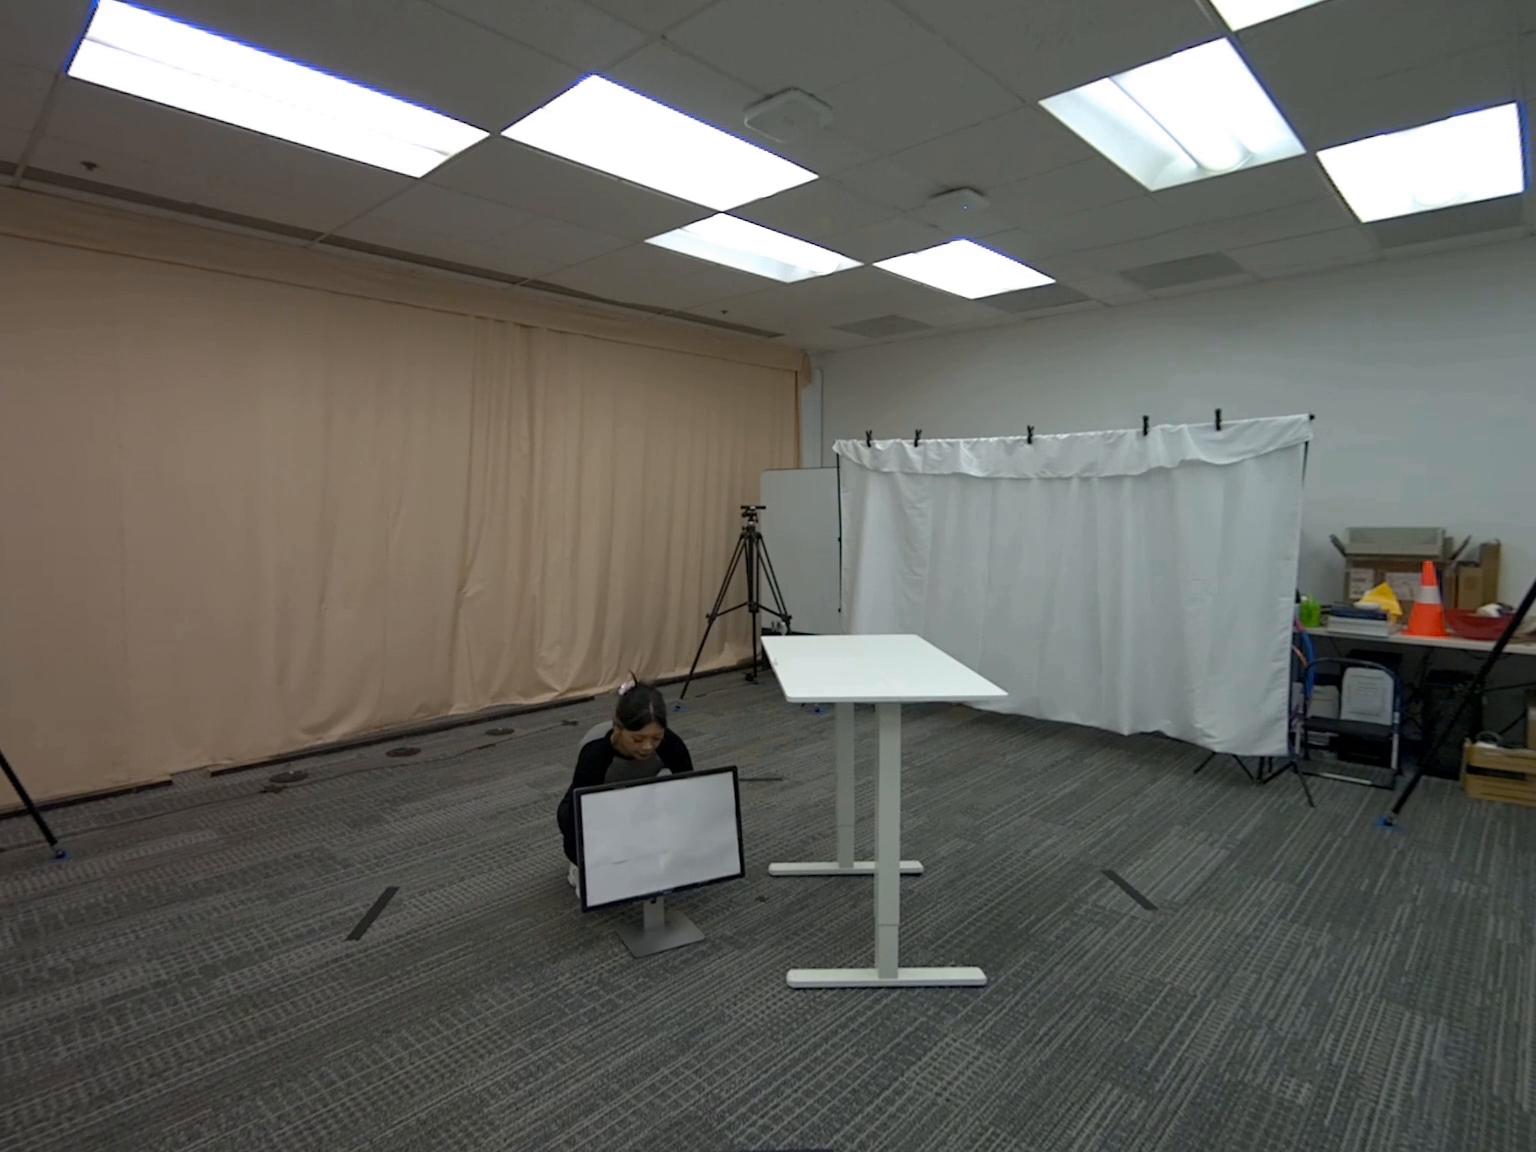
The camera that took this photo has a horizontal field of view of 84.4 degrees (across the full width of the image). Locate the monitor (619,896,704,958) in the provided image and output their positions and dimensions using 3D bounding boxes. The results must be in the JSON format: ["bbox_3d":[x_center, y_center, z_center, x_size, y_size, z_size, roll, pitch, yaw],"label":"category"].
[{"bbox_3d":[-0.357,0.902,2.713,0.525,0.521,0.193,-3,7,-30],"label":"monitor"}]
